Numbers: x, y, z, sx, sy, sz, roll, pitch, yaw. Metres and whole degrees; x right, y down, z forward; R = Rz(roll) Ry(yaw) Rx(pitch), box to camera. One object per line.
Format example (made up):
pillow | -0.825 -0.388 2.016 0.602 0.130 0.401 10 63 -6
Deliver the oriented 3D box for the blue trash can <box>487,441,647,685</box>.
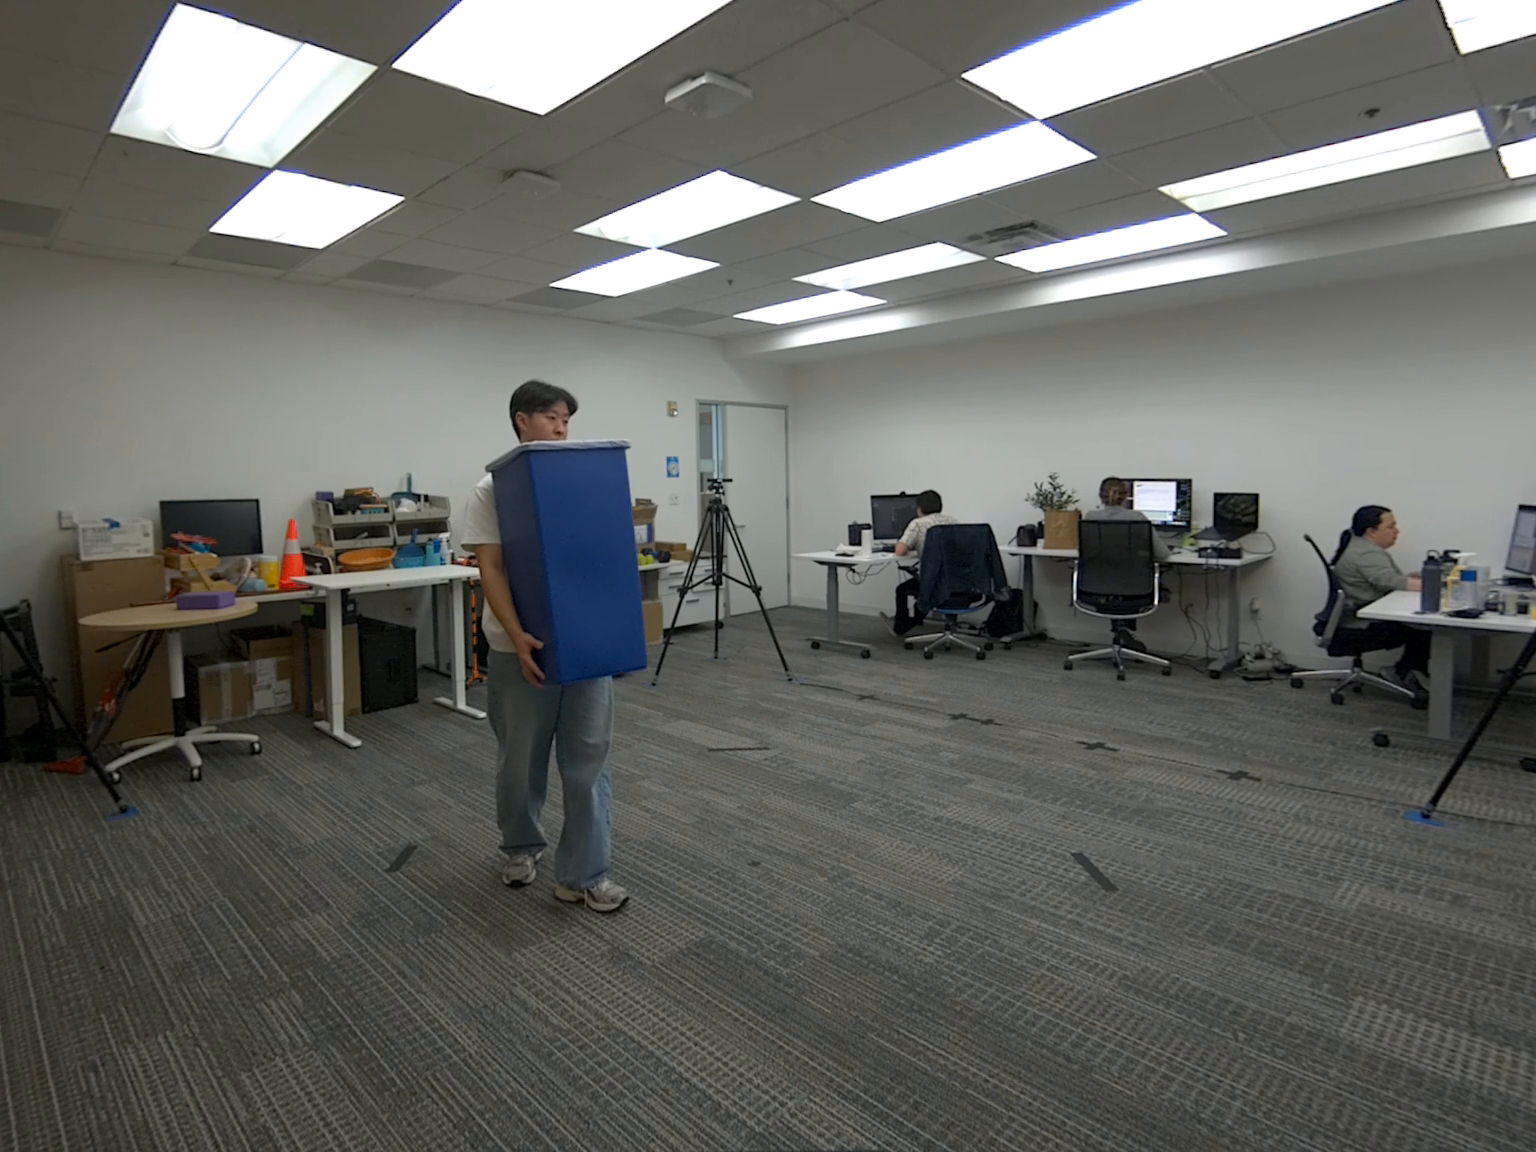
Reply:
blue trash can | -0.620 -0.042 2.687 0.365 0.717 0.386 -6 -5 -36
